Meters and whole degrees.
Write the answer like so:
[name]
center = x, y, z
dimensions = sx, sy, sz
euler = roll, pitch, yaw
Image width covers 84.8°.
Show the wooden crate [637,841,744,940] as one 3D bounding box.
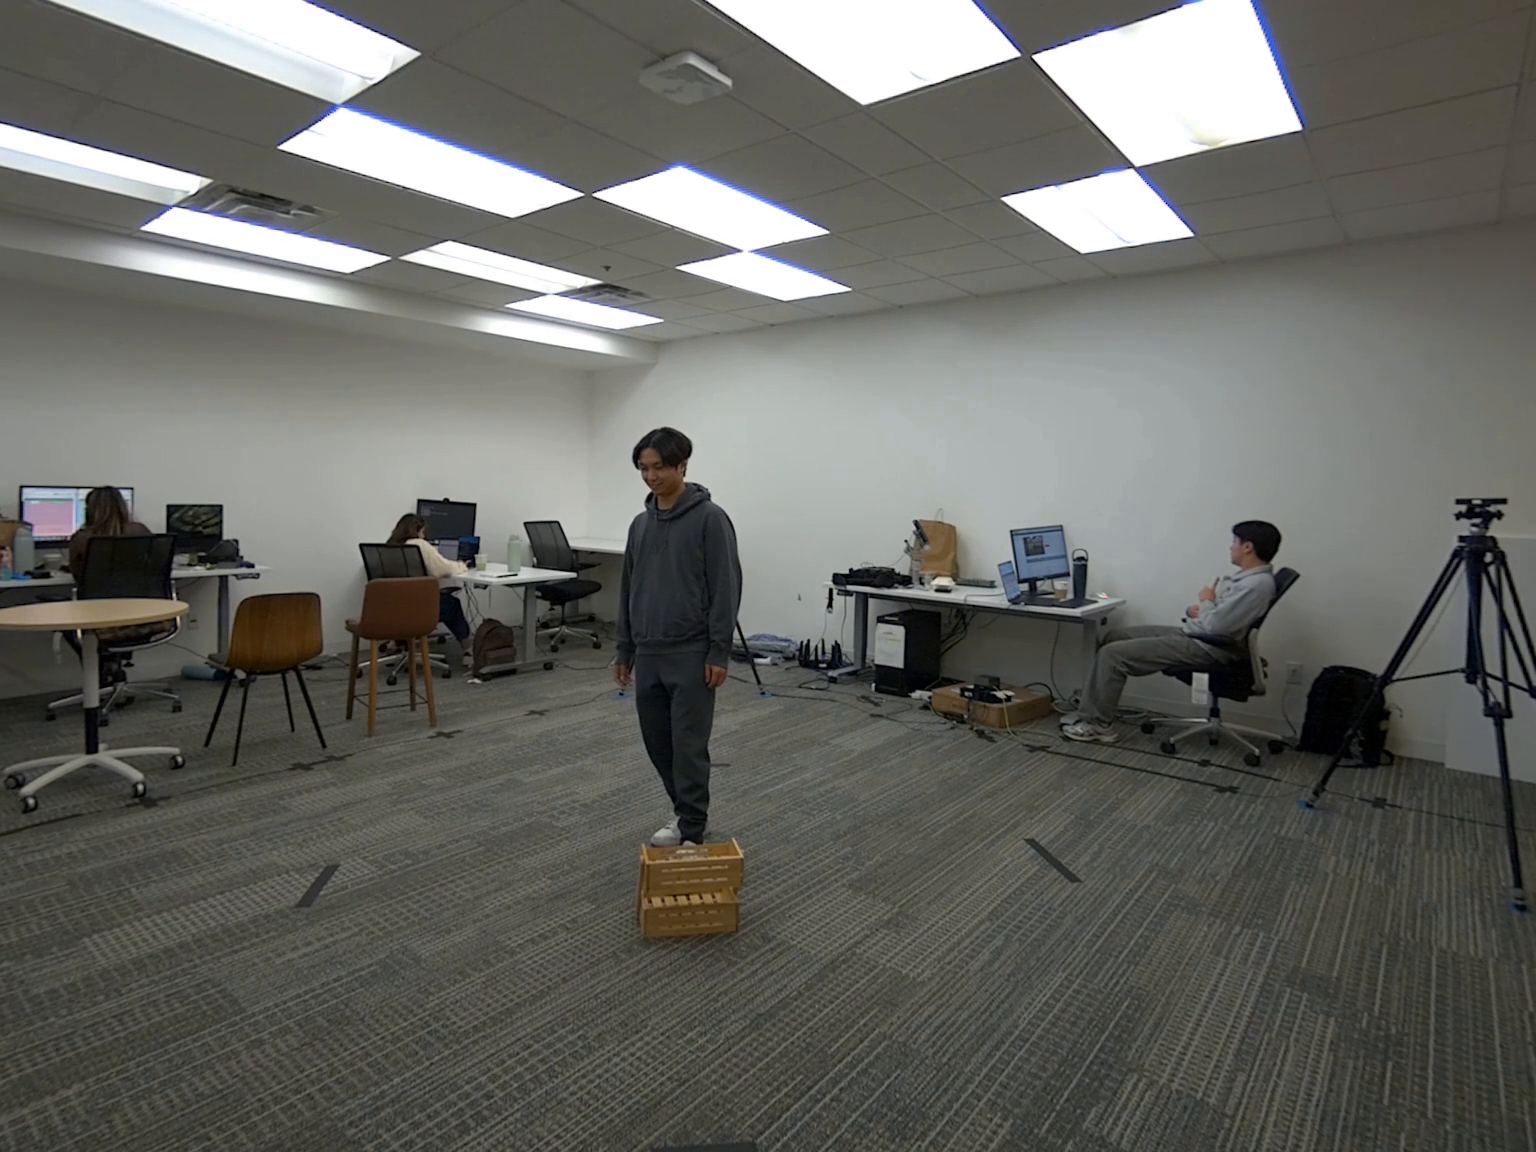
[wooden crate]
center = -0.270, 0.968, 2.738
dimensions = 0.320, 0.272, 0.307
euler = 0, 5, -13
